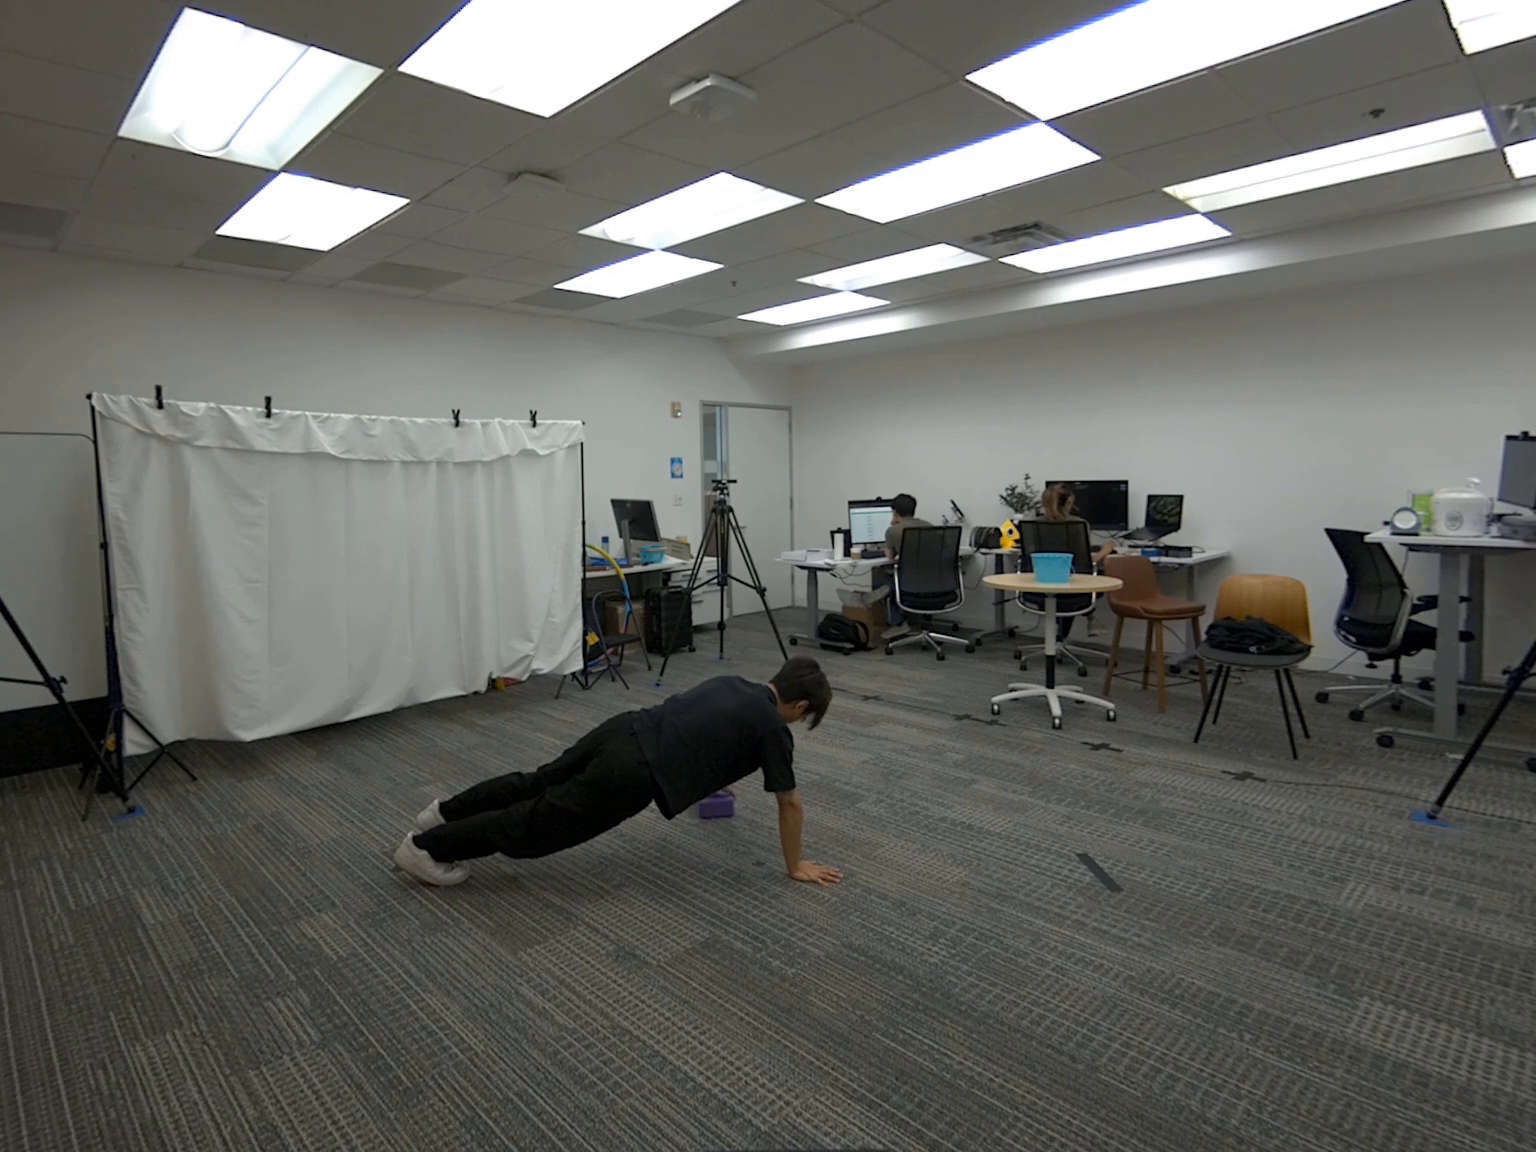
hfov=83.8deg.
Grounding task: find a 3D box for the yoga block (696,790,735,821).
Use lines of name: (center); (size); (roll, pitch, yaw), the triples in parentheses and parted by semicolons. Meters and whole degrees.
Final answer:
yoga block: (-0.230, 0.954, 3.648); (0.148, 0.076, 0.232); (-2, 7, -8)
